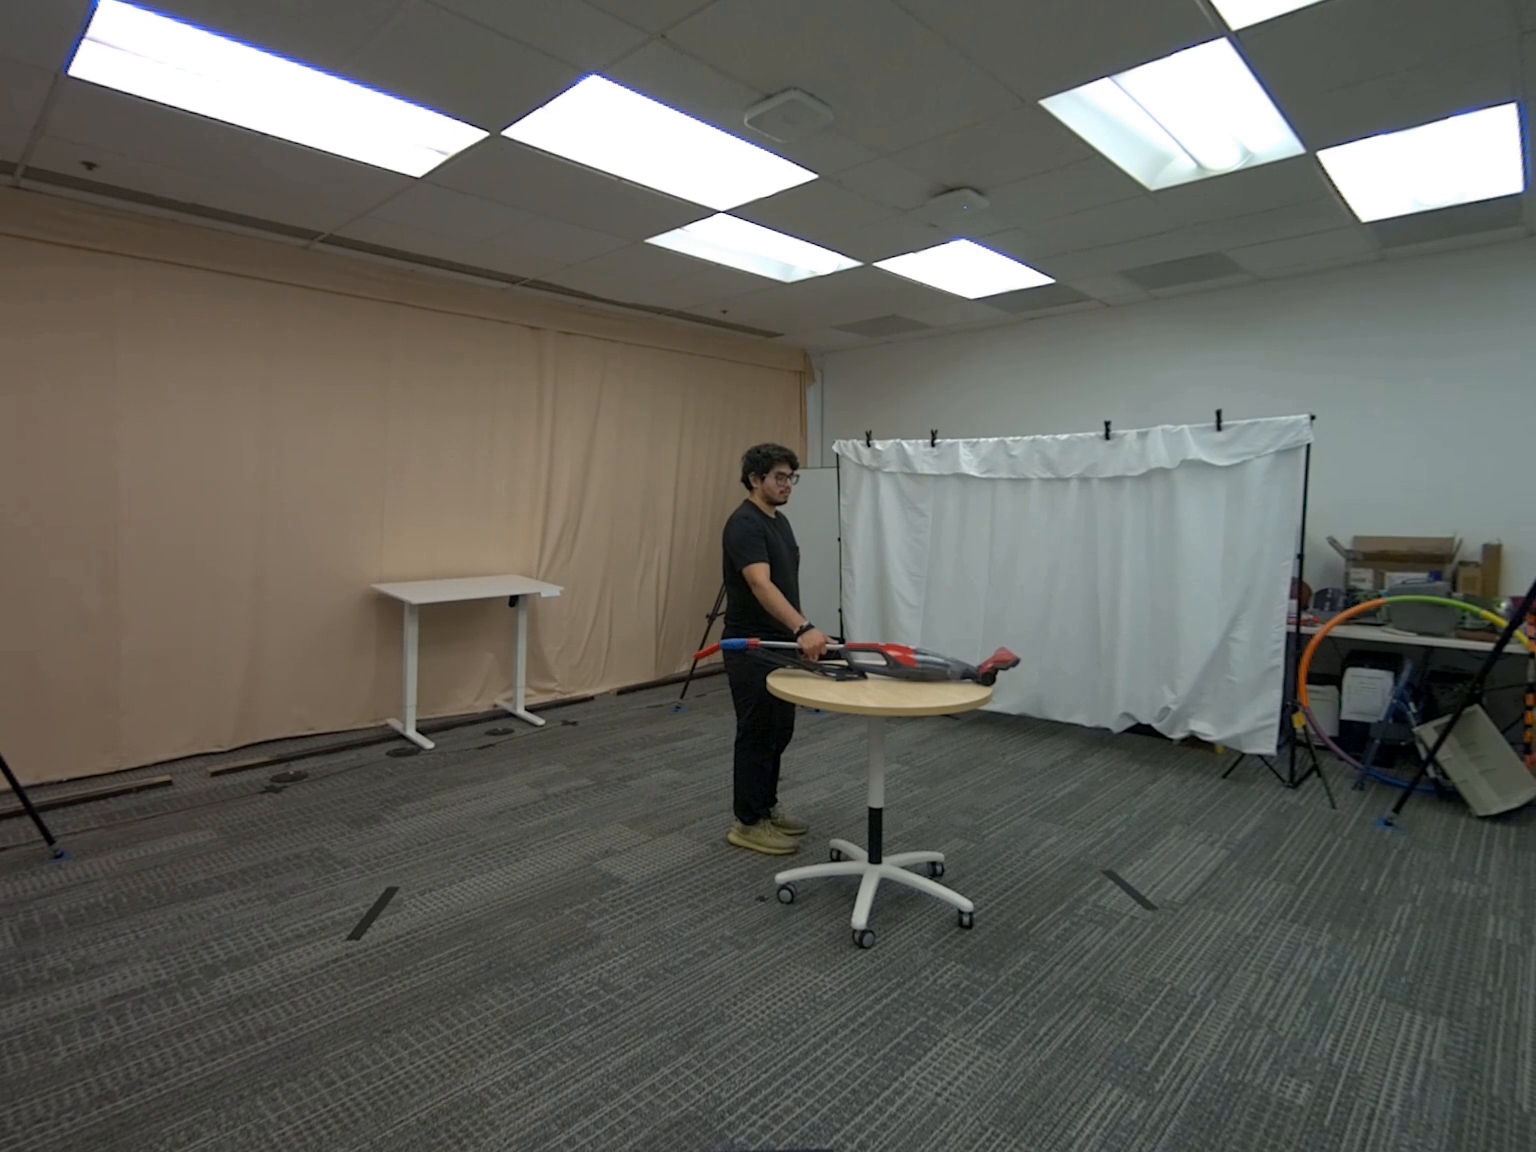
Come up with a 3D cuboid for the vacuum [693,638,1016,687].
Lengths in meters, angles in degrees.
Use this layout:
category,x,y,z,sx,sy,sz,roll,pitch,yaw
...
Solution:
category,x,y,z,sx,sy,sz,roll,pitch,yaw
vacuum,0.269,0.304,2.971,1.059,0.143,0.251,2,6,8
